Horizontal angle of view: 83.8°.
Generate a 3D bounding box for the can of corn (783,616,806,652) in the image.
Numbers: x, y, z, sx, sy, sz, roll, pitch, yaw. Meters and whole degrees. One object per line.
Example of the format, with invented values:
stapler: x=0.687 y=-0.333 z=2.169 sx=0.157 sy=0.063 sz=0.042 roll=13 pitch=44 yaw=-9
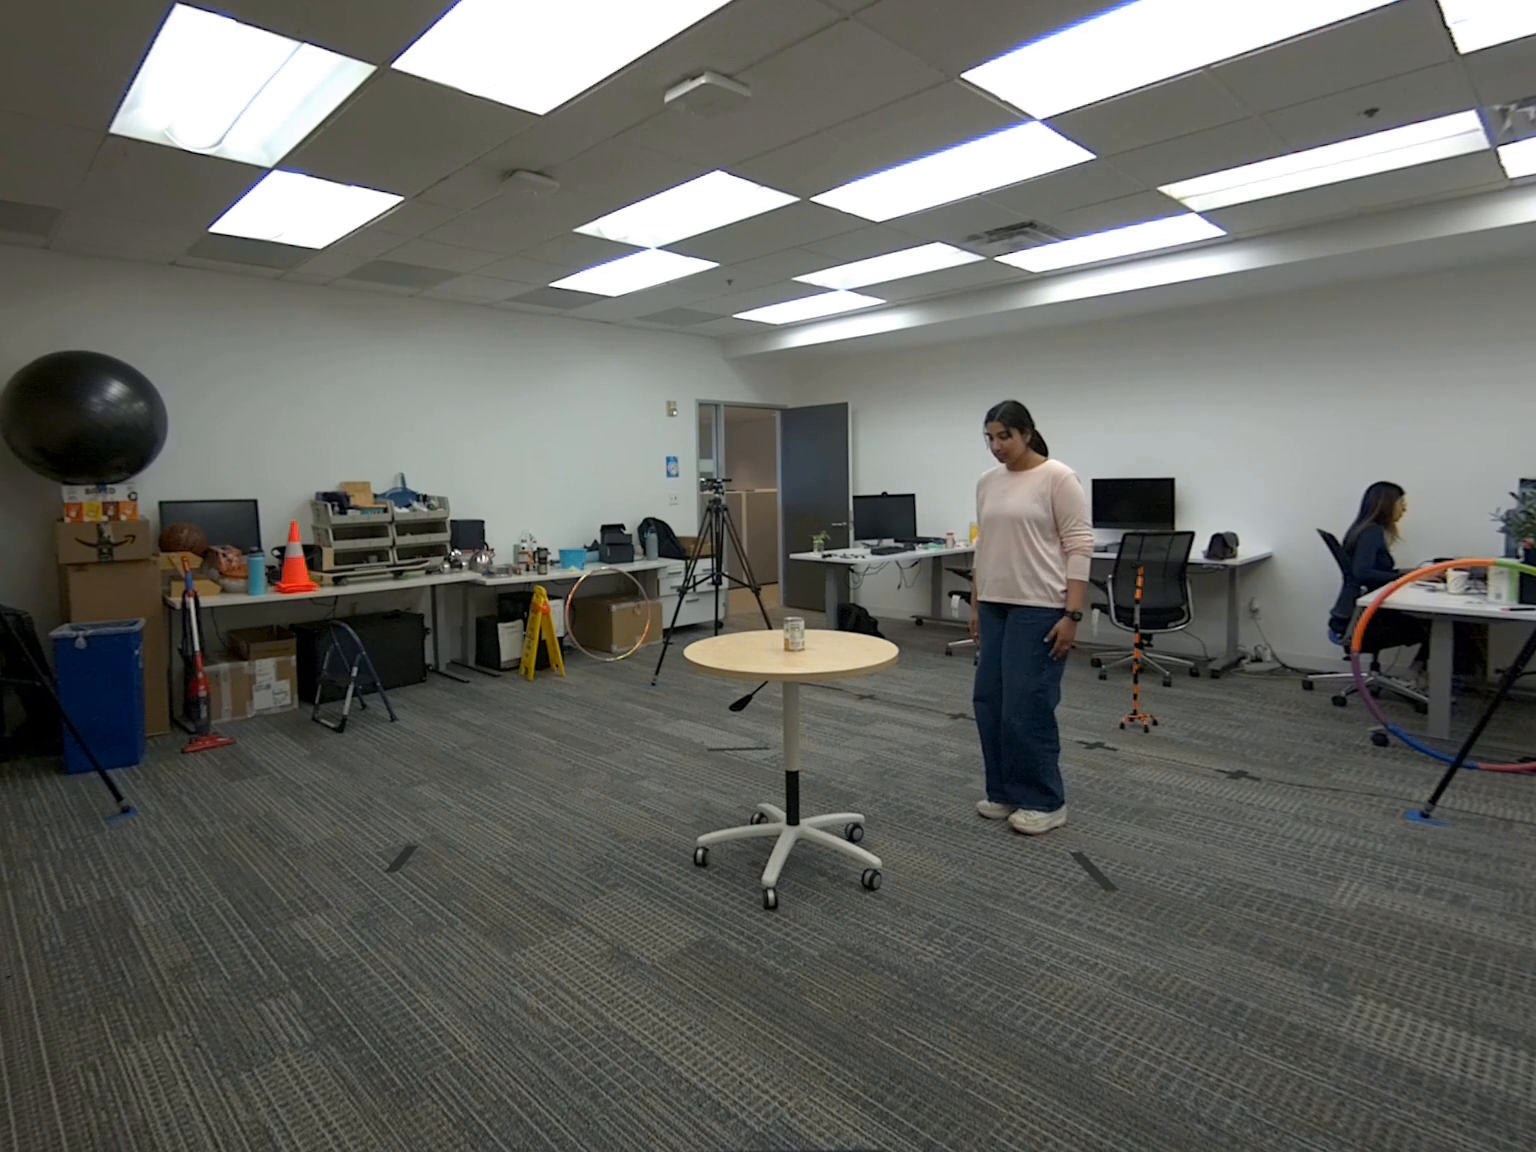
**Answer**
can of corn: x=0.097 y=0.209 z=3.047 sx=0.074 sy=0.111 sz=0.074 roll=-1 pitch=4 yaw=-2
